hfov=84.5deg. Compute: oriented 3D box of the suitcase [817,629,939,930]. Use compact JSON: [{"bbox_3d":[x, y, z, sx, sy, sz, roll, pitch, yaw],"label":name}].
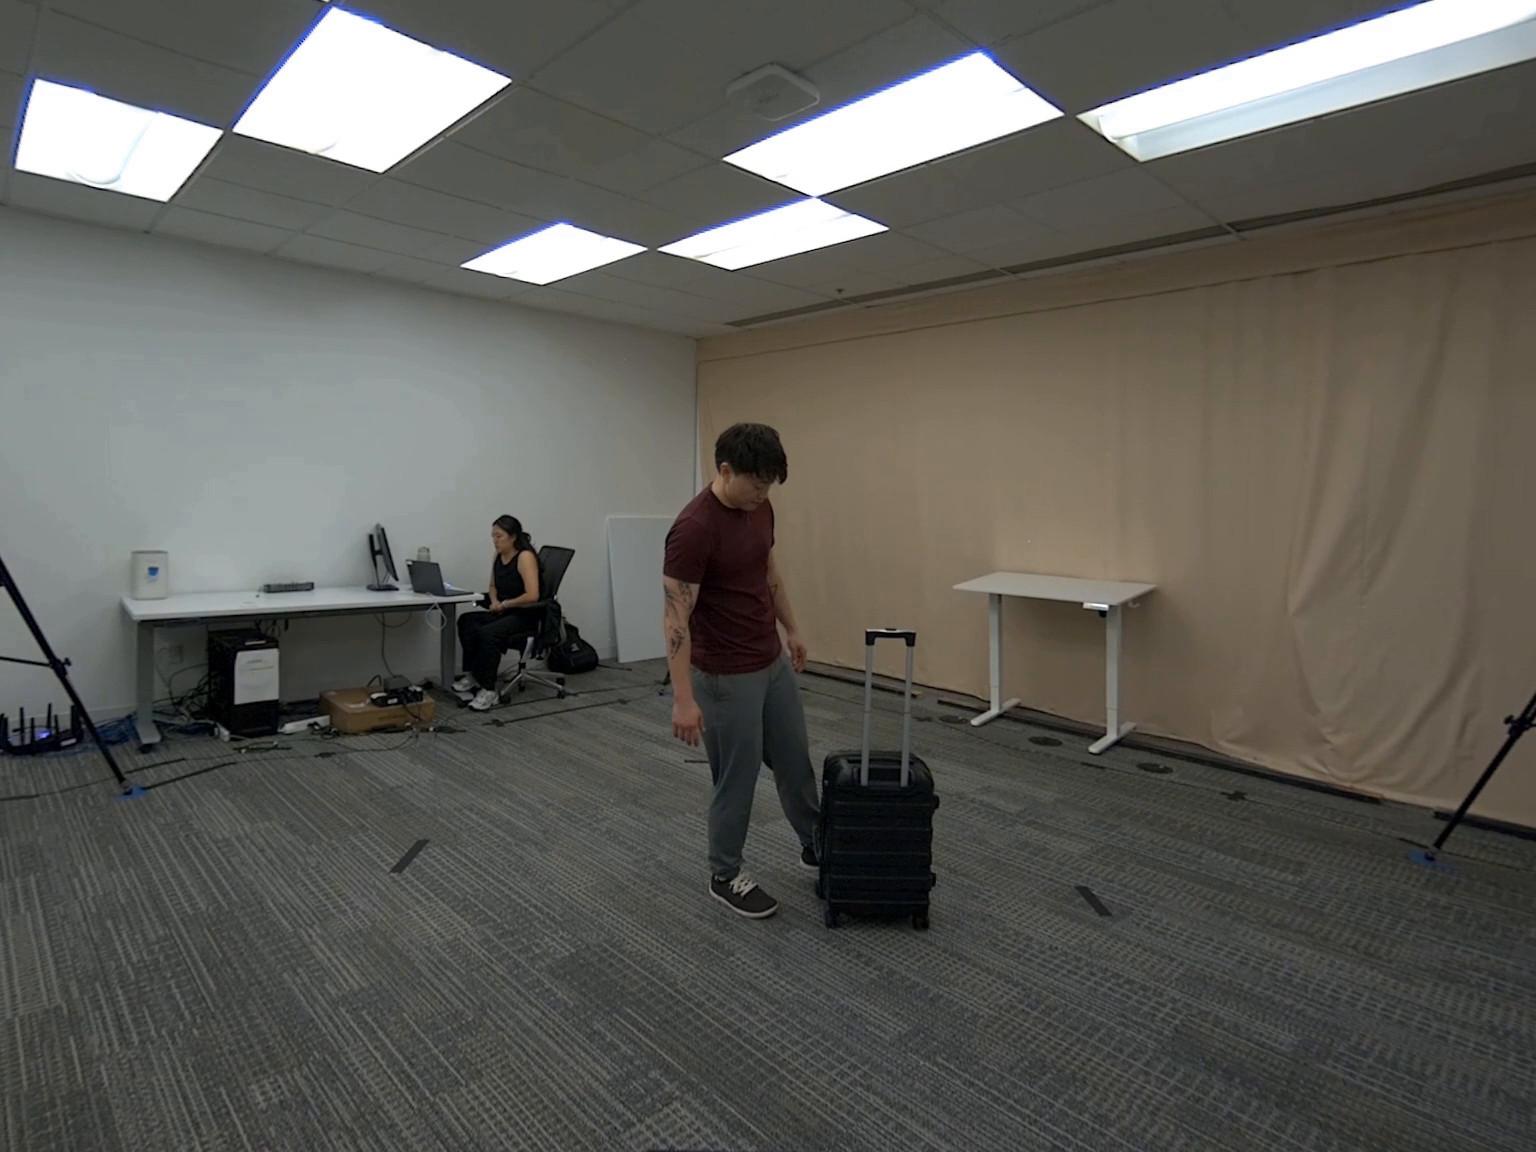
[{"bbox_3d":[0.365,0.673,2.792,0.384,0.976,0.258,3,3,-1],"label":"suitcase"}]
